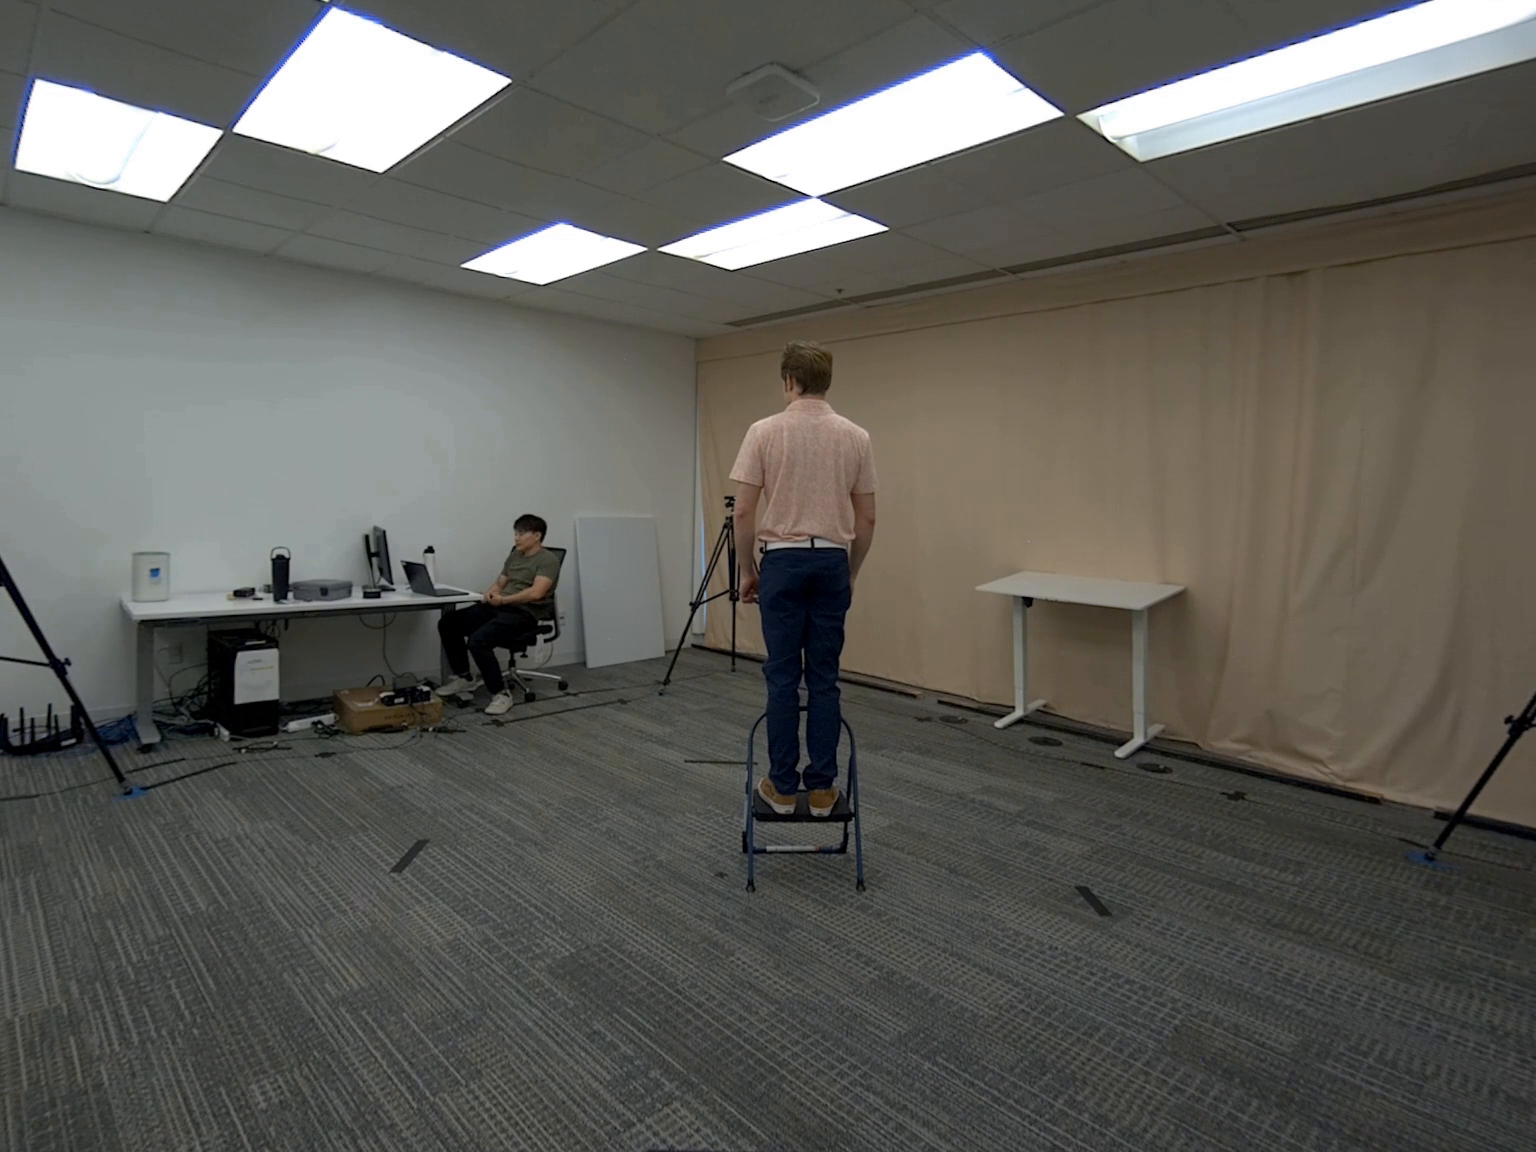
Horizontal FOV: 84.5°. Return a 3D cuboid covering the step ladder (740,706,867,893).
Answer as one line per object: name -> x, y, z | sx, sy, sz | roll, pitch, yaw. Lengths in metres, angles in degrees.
step ladder -> 0.122, 0.807, 3.149 | 0.429, 0.604, 0.352 | 1, 4, -5
